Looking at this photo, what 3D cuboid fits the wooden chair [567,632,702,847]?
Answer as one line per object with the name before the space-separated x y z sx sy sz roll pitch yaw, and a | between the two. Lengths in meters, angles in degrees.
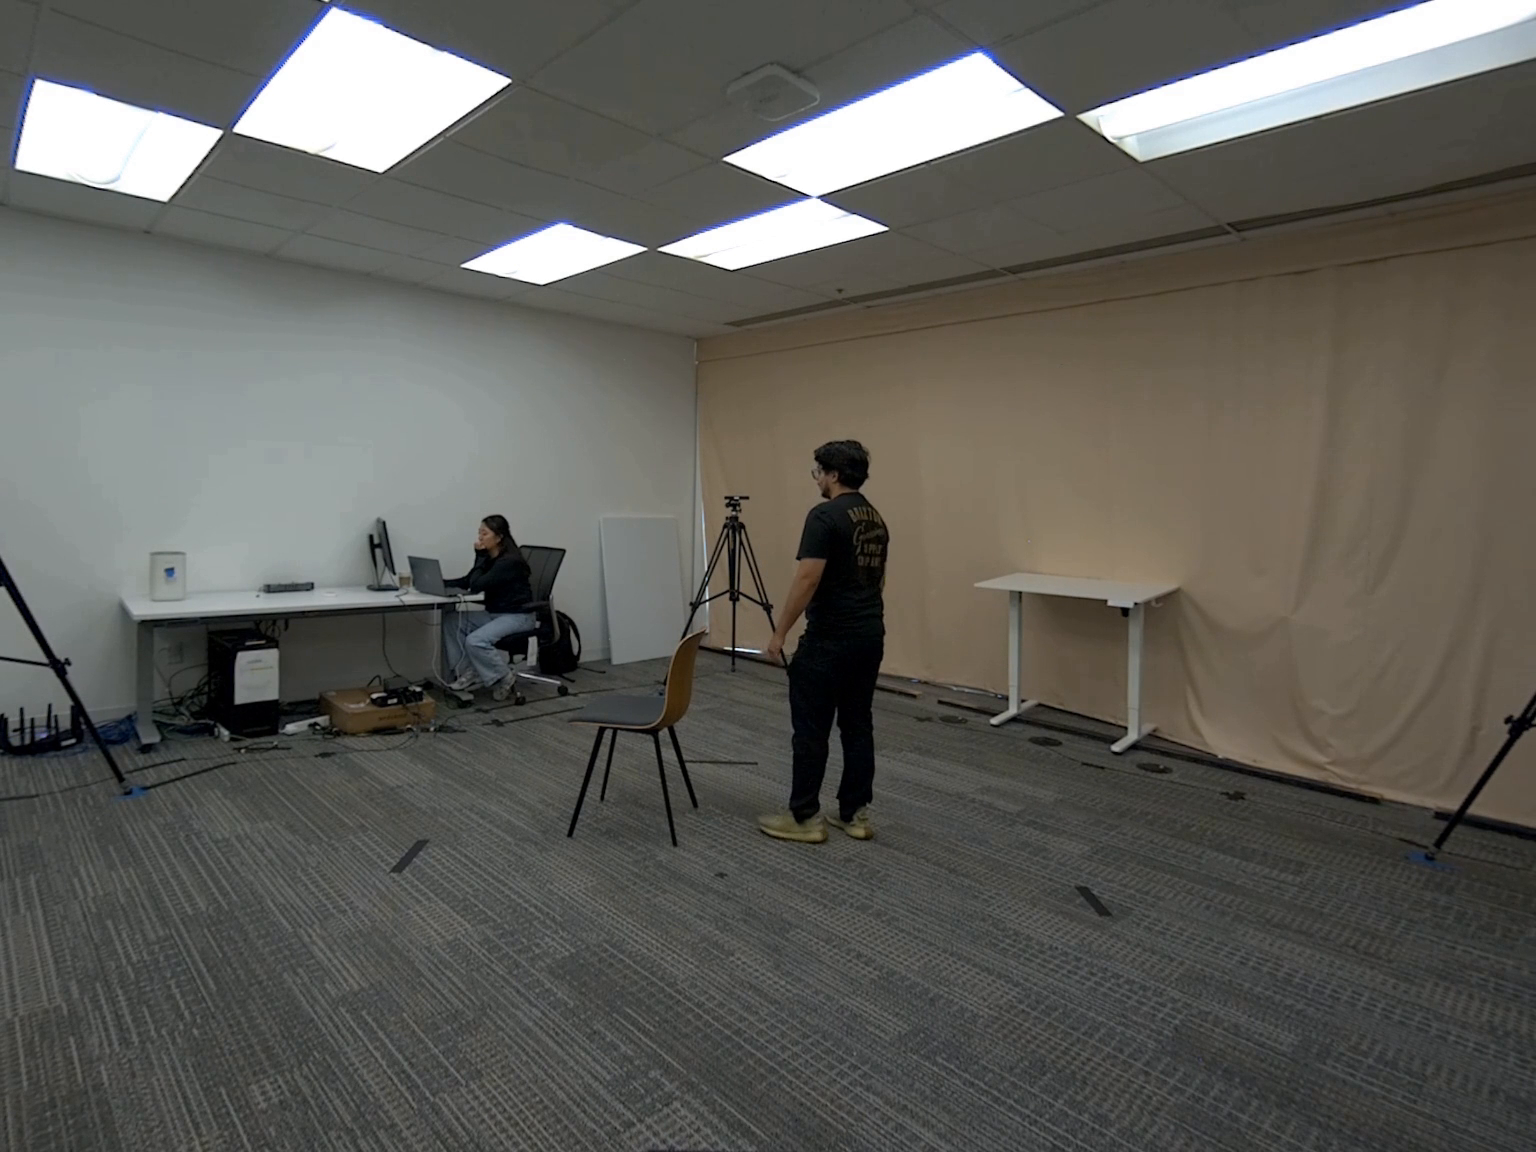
wooden chair | -0.565 0.625 3.559 0.526 0.875 0.476 6 4 7
